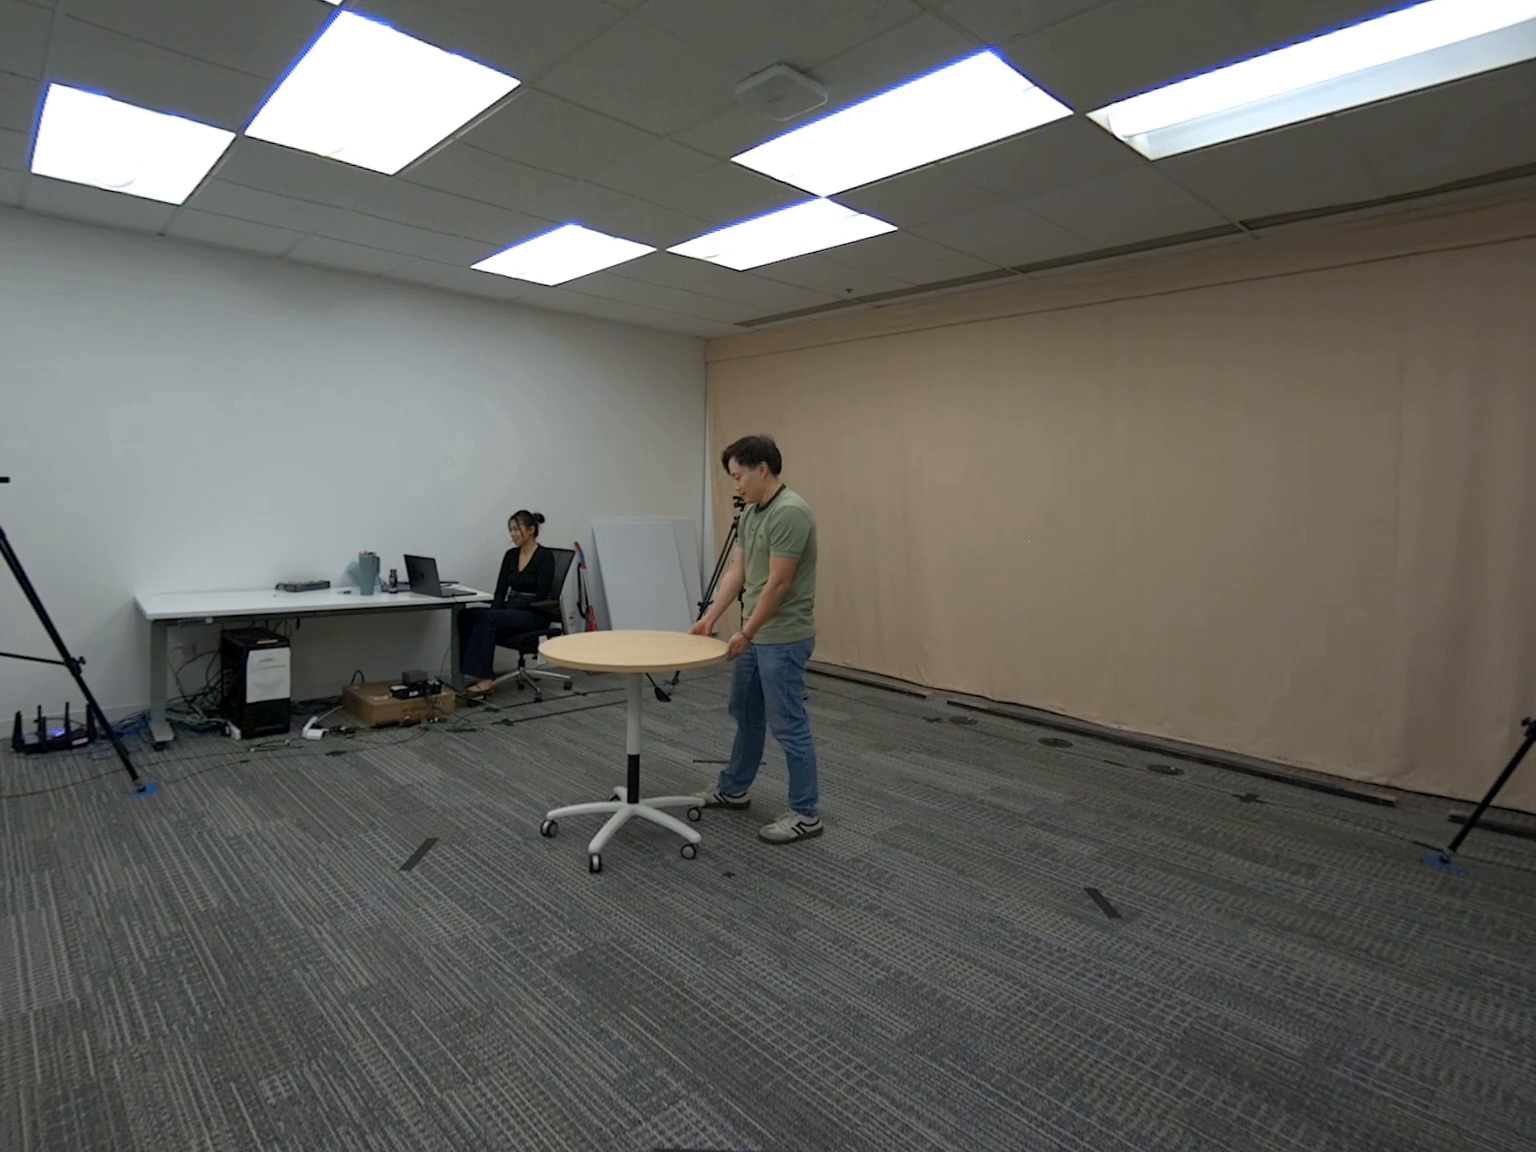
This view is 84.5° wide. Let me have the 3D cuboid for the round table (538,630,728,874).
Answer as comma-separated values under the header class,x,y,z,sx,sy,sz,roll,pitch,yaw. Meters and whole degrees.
class,x,y,z,sx,sy,sz,roll,pitch,yaw
round table,-0.559,0.677,3.415,0.763,0.792,0.767,1,4,-1
